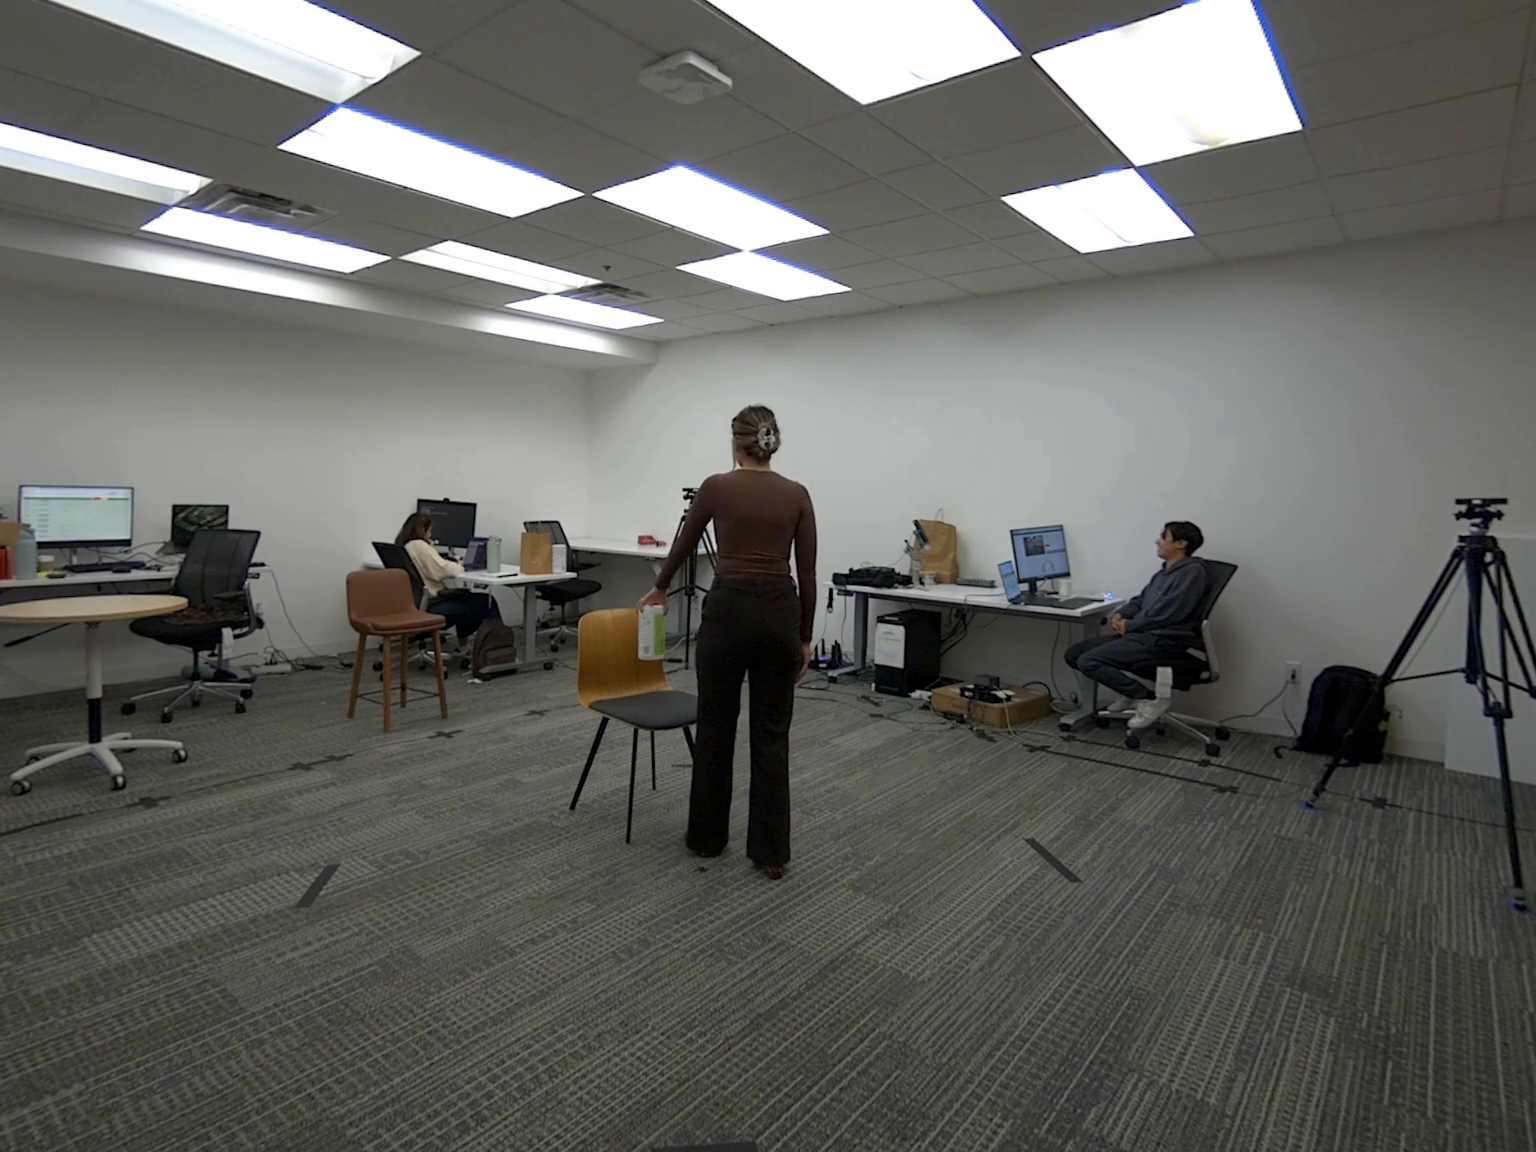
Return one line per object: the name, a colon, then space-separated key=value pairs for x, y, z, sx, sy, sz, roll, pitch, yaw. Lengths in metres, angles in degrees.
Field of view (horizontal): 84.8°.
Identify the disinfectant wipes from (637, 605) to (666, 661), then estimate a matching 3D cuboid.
disinfectant wipes: x=-0.489 y=0.230 z=3.486 sx=0.118 sy=0.217 sz=0.118 roll=2 pitch=1 yaw=-2
